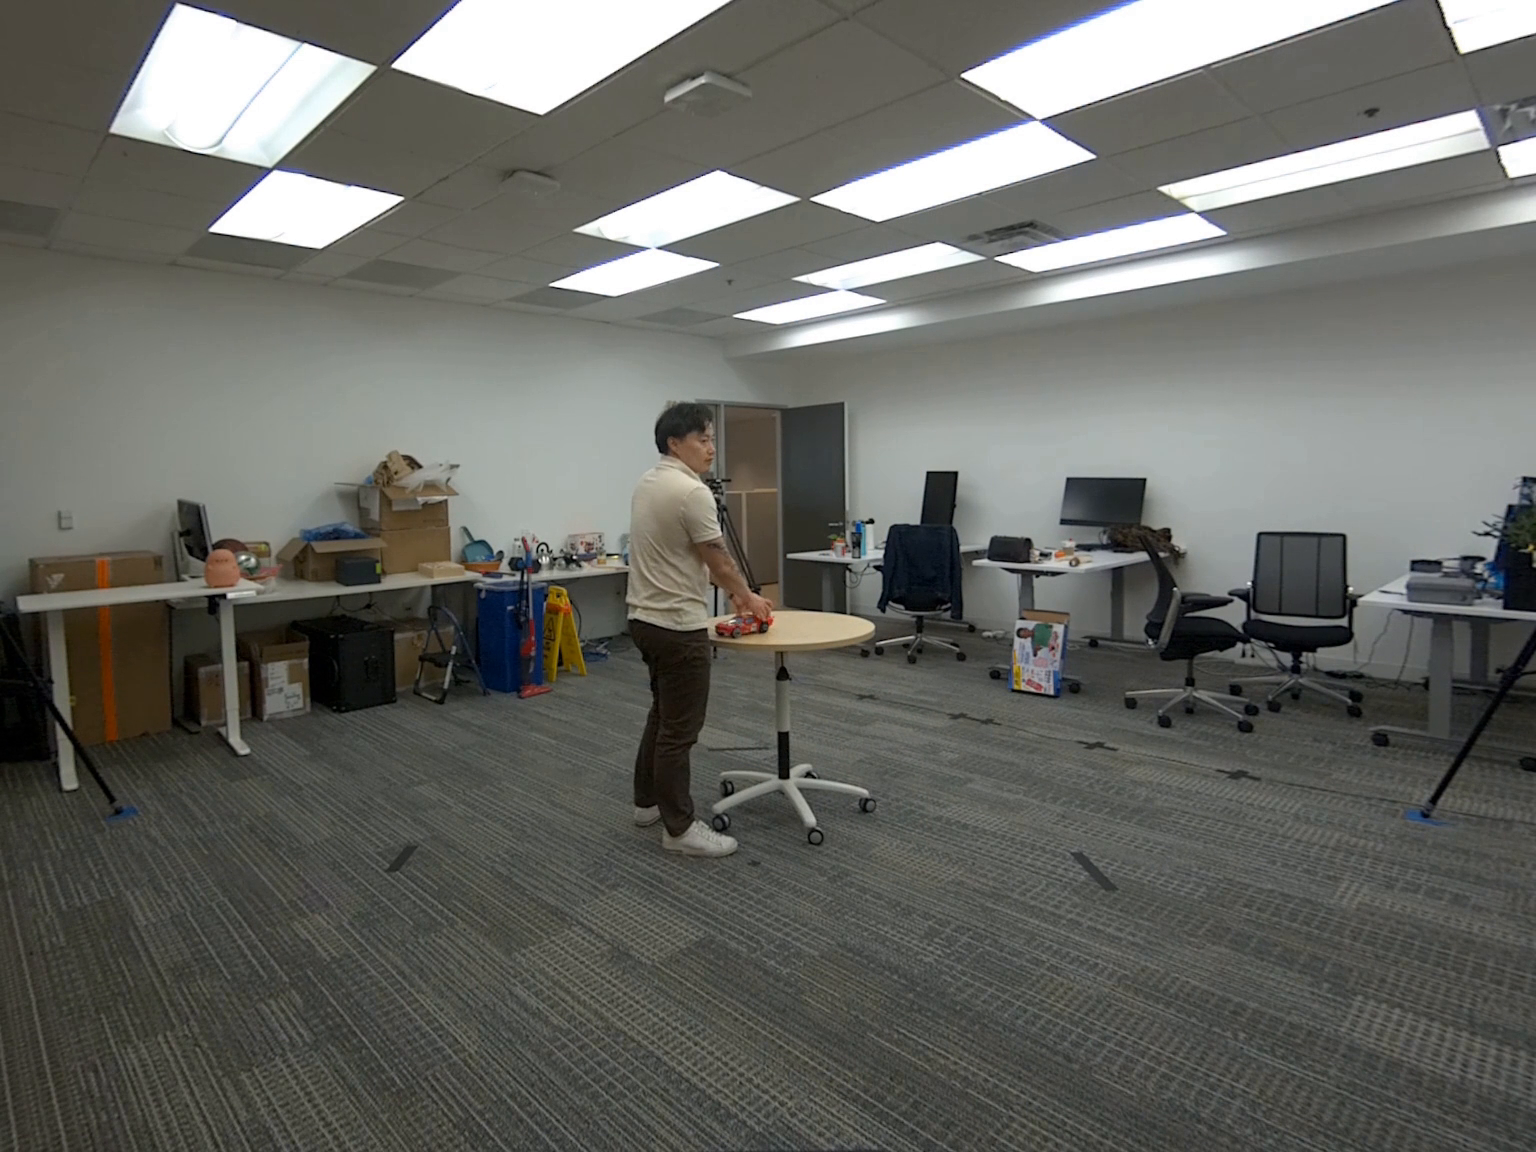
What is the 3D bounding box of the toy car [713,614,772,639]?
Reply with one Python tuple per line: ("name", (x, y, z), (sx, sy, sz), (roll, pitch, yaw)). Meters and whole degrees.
("toy car", (-0.089, 0.197, 3.408), (0.250, 0.082, 0.134), (-22, 17, -39))
